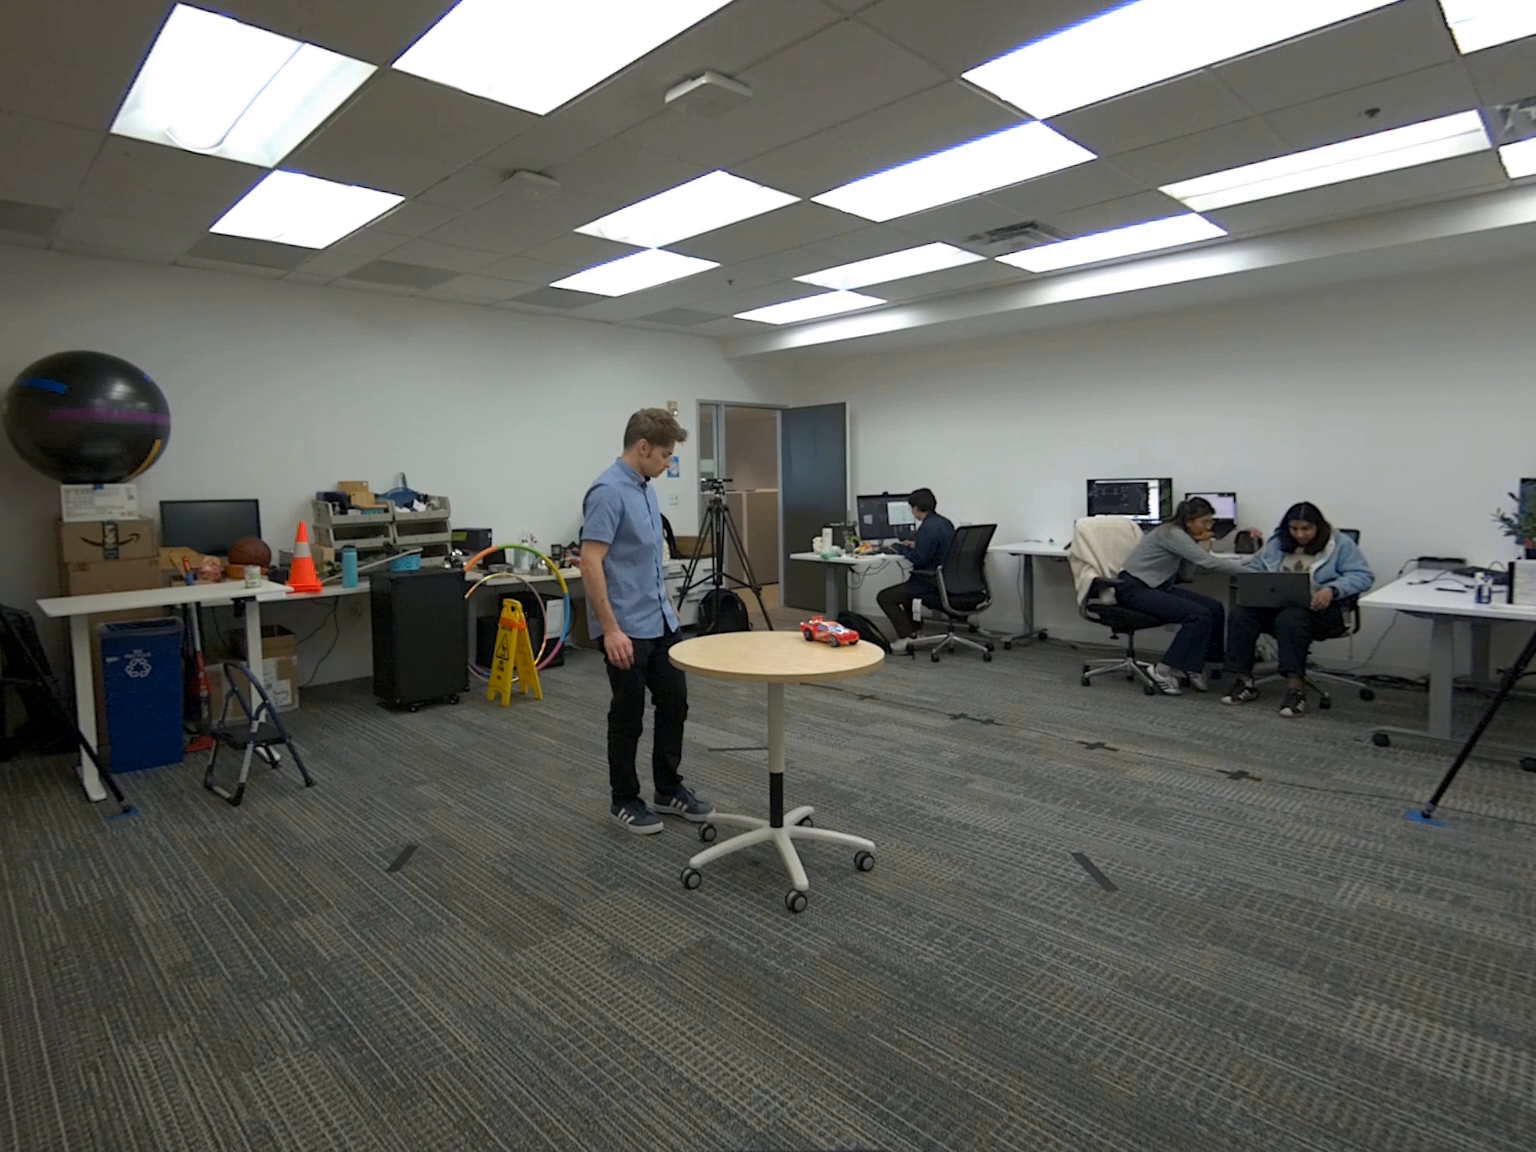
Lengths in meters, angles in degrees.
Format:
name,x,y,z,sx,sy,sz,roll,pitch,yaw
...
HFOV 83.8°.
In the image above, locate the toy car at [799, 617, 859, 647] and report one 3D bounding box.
name,x,y,z,sx,sy,sz,roll,pitch,yaw
toy car,0.219,0.213,3.210,0.127,0.082,0.264,-4,17,-34
